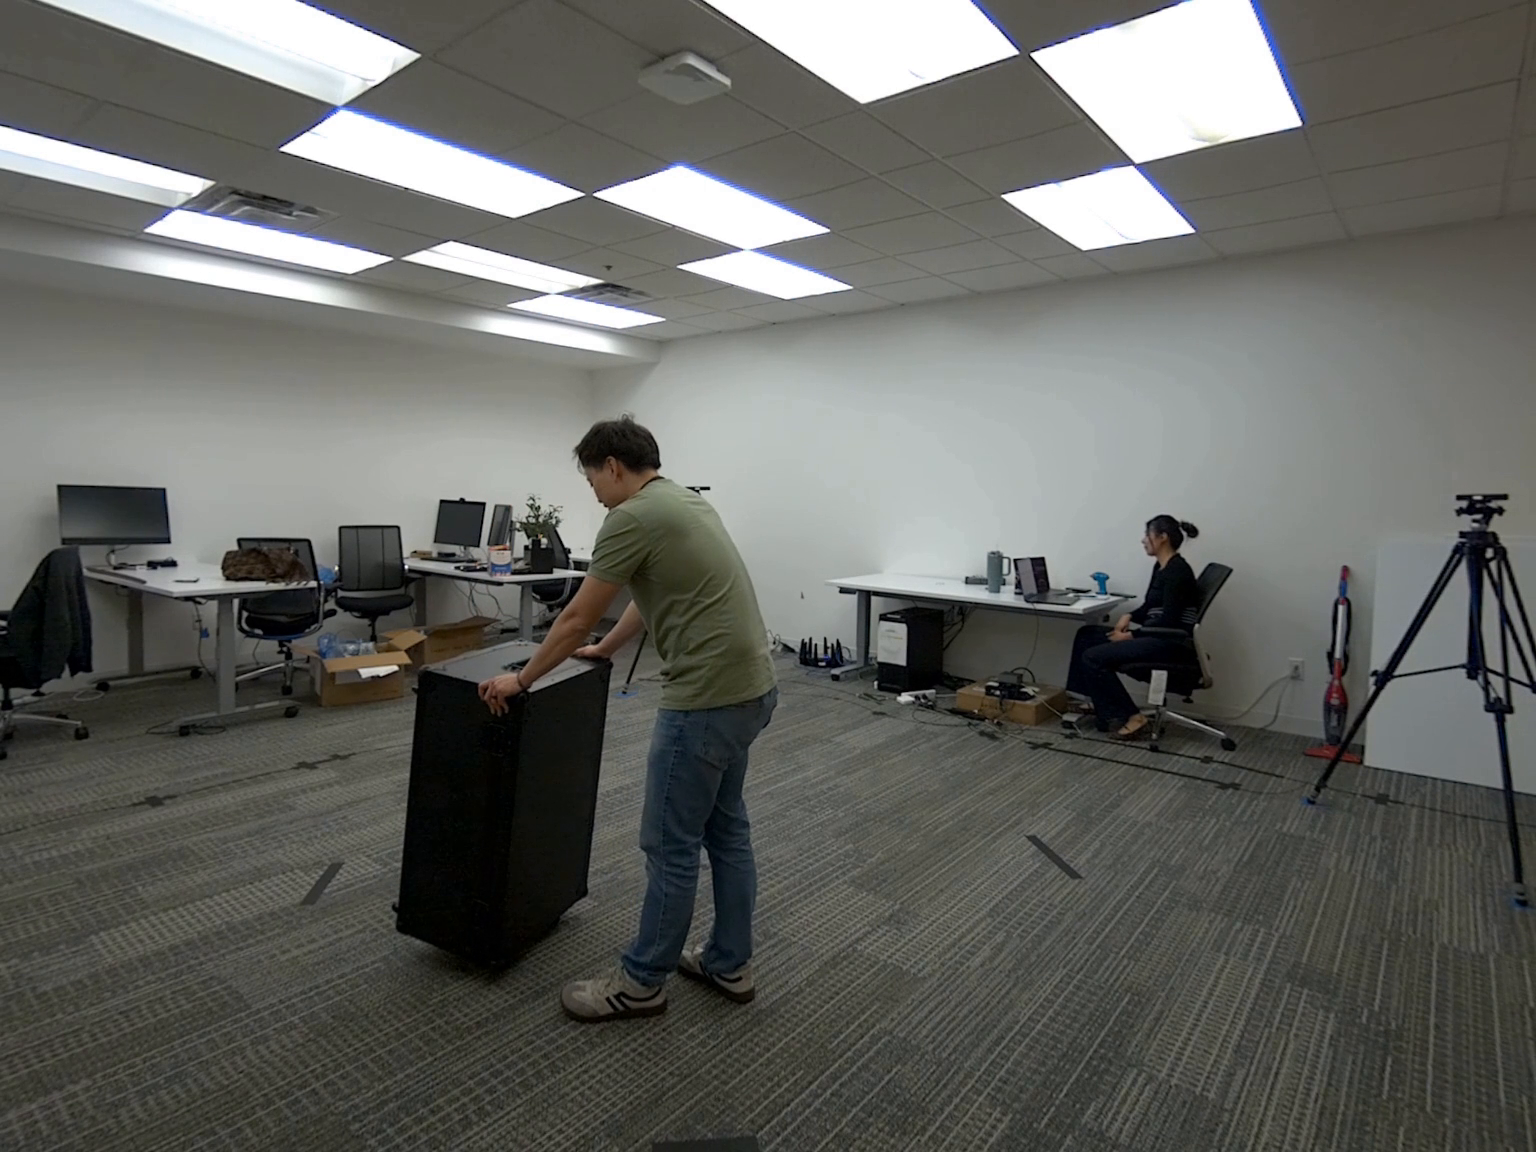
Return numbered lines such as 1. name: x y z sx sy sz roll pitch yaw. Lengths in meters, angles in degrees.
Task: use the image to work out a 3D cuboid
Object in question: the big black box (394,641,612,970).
1. big black box: -0.810 0.673 2.566 0.406 0.858 0.511 8 6 20
